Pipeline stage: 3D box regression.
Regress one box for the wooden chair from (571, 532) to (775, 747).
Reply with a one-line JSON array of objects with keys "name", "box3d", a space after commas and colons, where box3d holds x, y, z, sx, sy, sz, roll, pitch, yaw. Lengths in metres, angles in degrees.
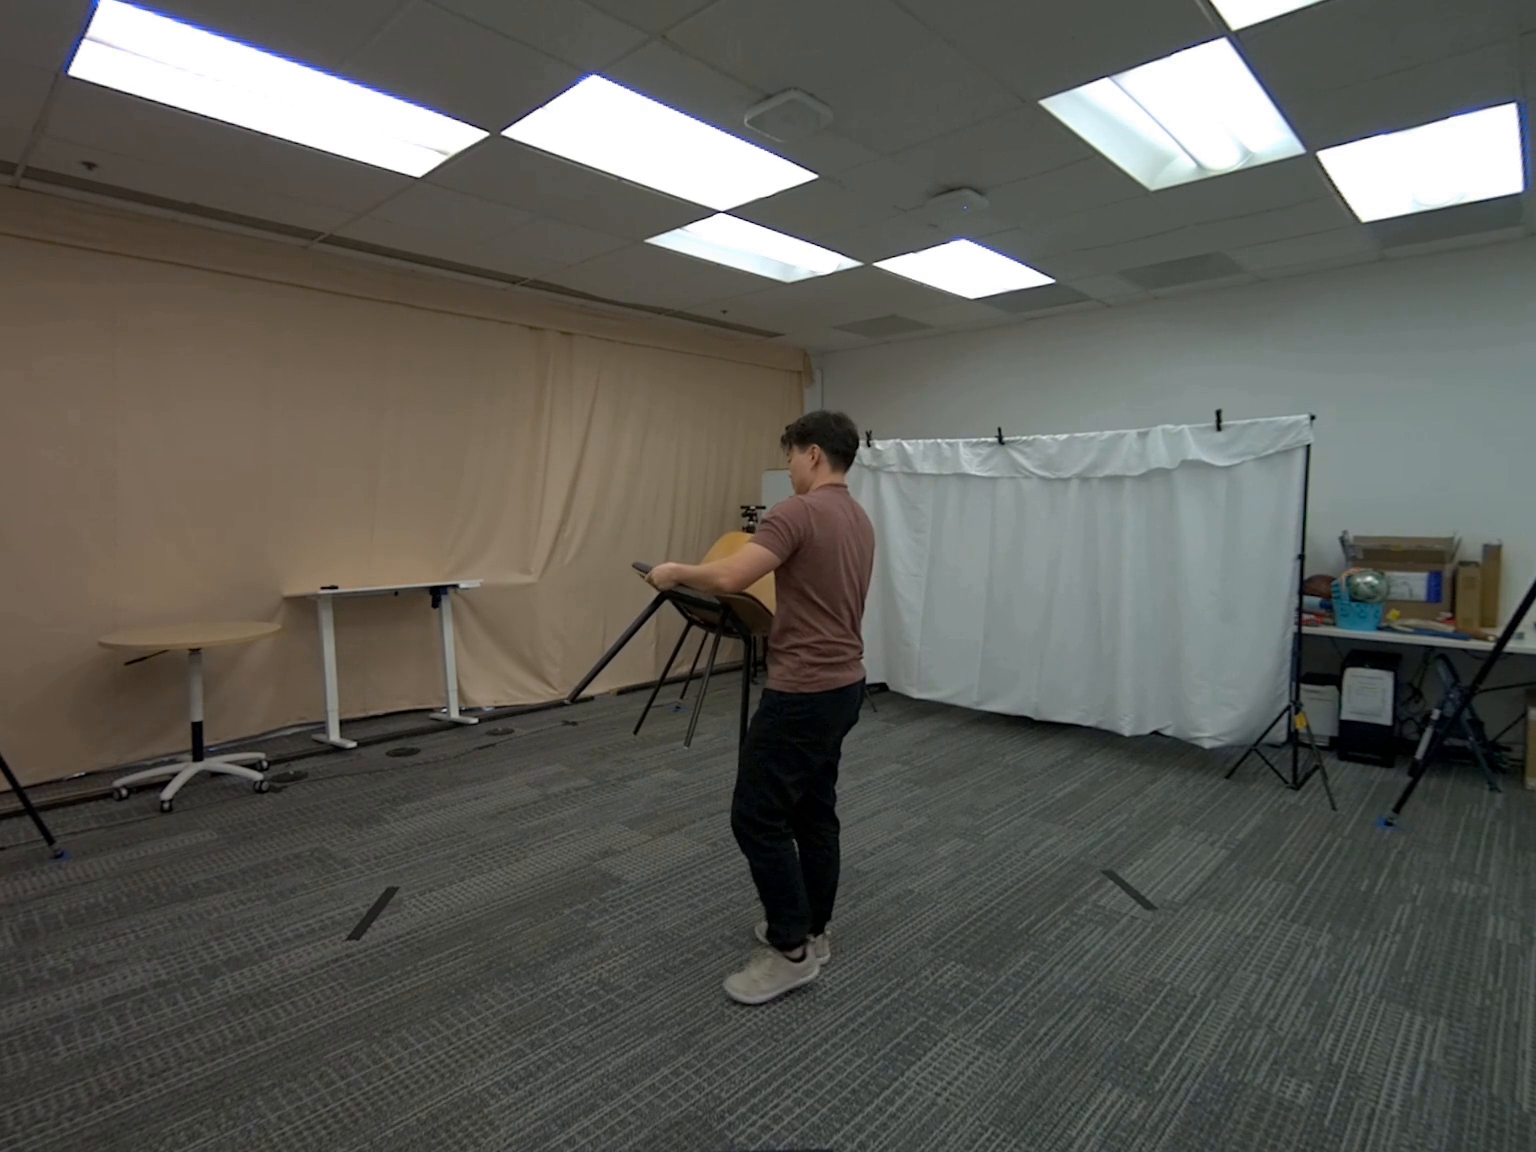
[{"name": "wooden chair", "box3d": [-0.207, 0.138, 2.745, 0.493, 0.879, 0.506, 13, -23, 29]}]
